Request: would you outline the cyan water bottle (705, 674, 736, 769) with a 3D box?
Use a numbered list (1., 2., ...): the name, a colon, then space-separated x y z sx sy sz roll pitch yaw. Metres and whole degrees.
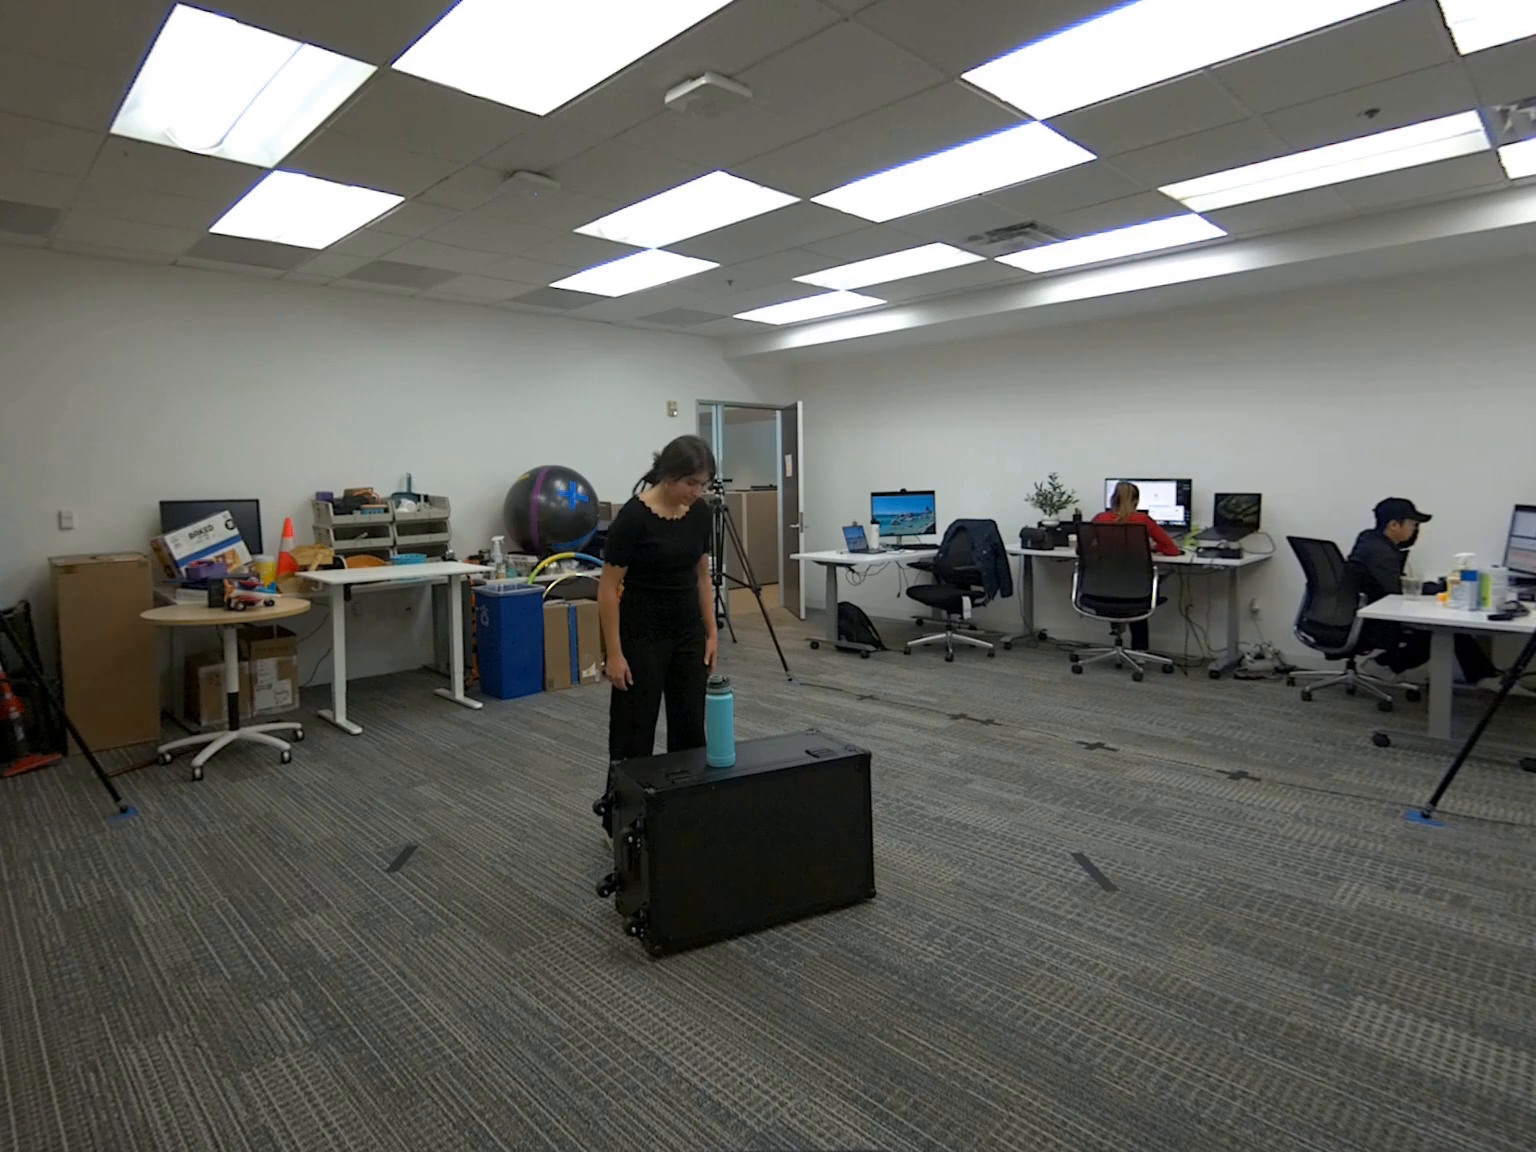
1. cyan water bottle: -0.152 0.461 2.733 0.092 0.283 0.092 -1 3 -2
